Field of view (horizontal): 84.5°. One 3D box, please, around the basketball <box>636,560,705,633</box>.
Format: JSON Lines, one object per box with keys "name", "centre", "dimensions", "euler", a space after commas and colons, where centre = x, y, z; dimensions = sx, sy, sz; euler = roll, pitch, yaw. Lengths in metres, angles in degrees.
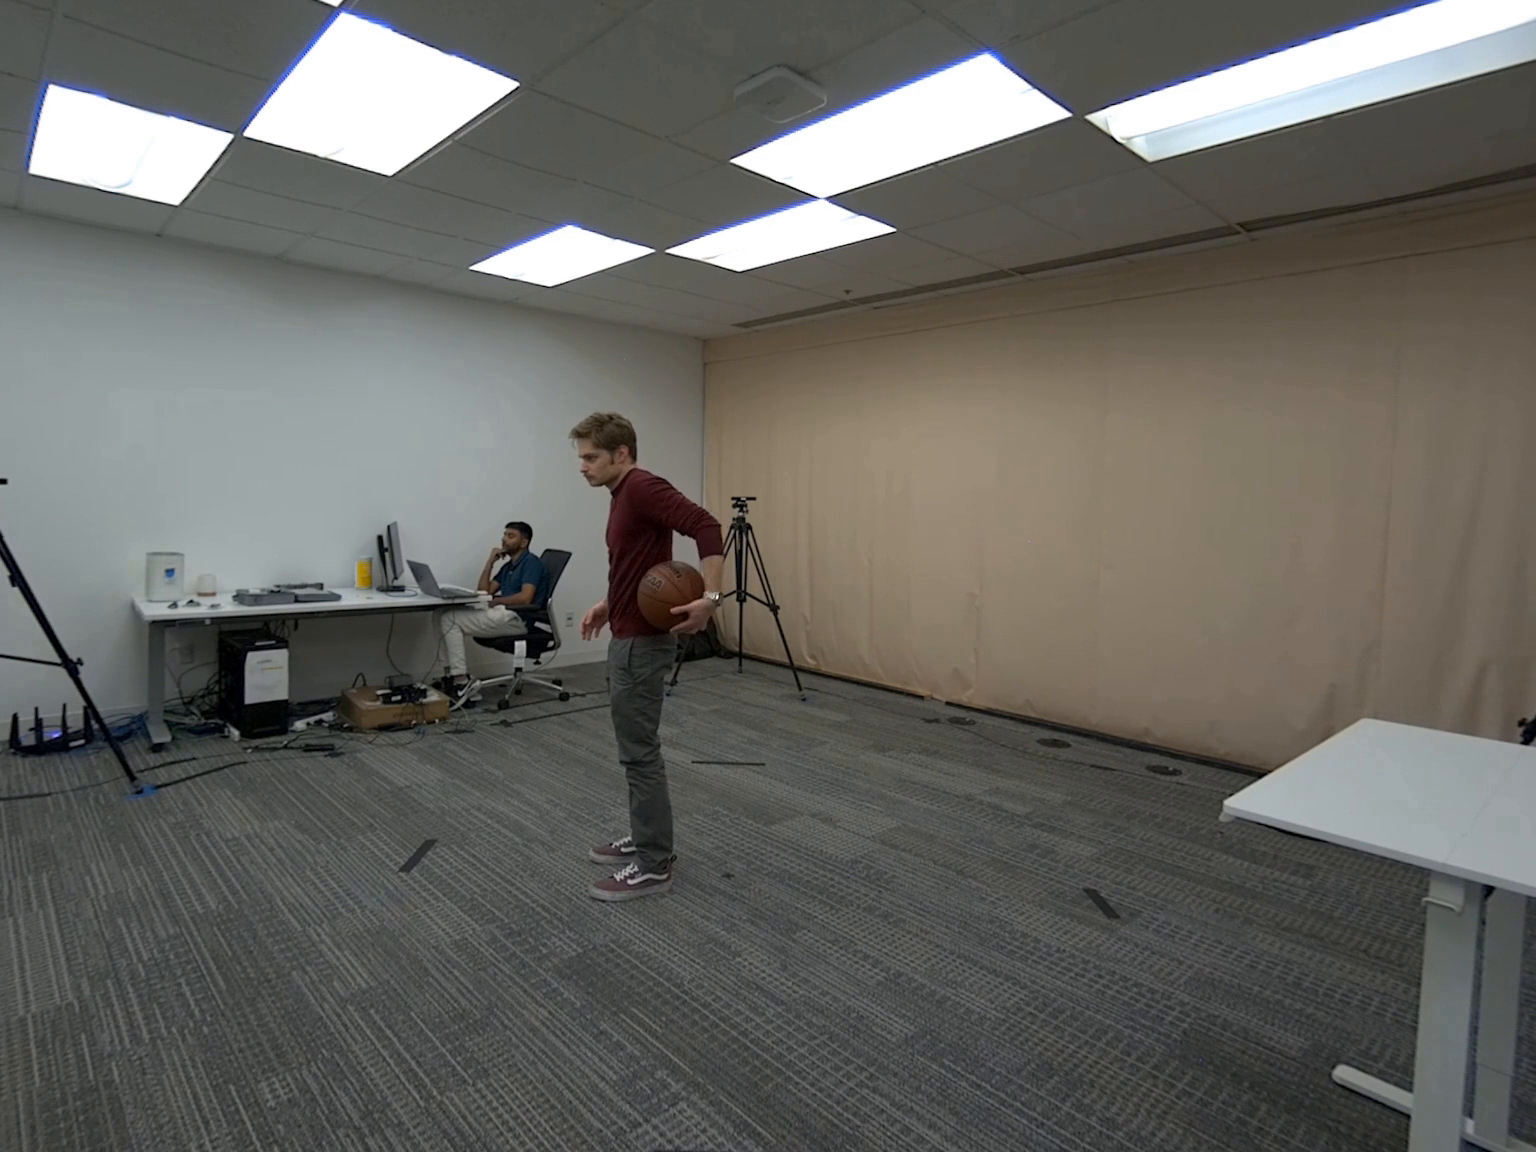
{"name": "basketball", "centre": [-0.321, 0.067, 2.831], "dimensions": [0.236, 0.235, 0.237], "euler": [1, 4, -1]}
